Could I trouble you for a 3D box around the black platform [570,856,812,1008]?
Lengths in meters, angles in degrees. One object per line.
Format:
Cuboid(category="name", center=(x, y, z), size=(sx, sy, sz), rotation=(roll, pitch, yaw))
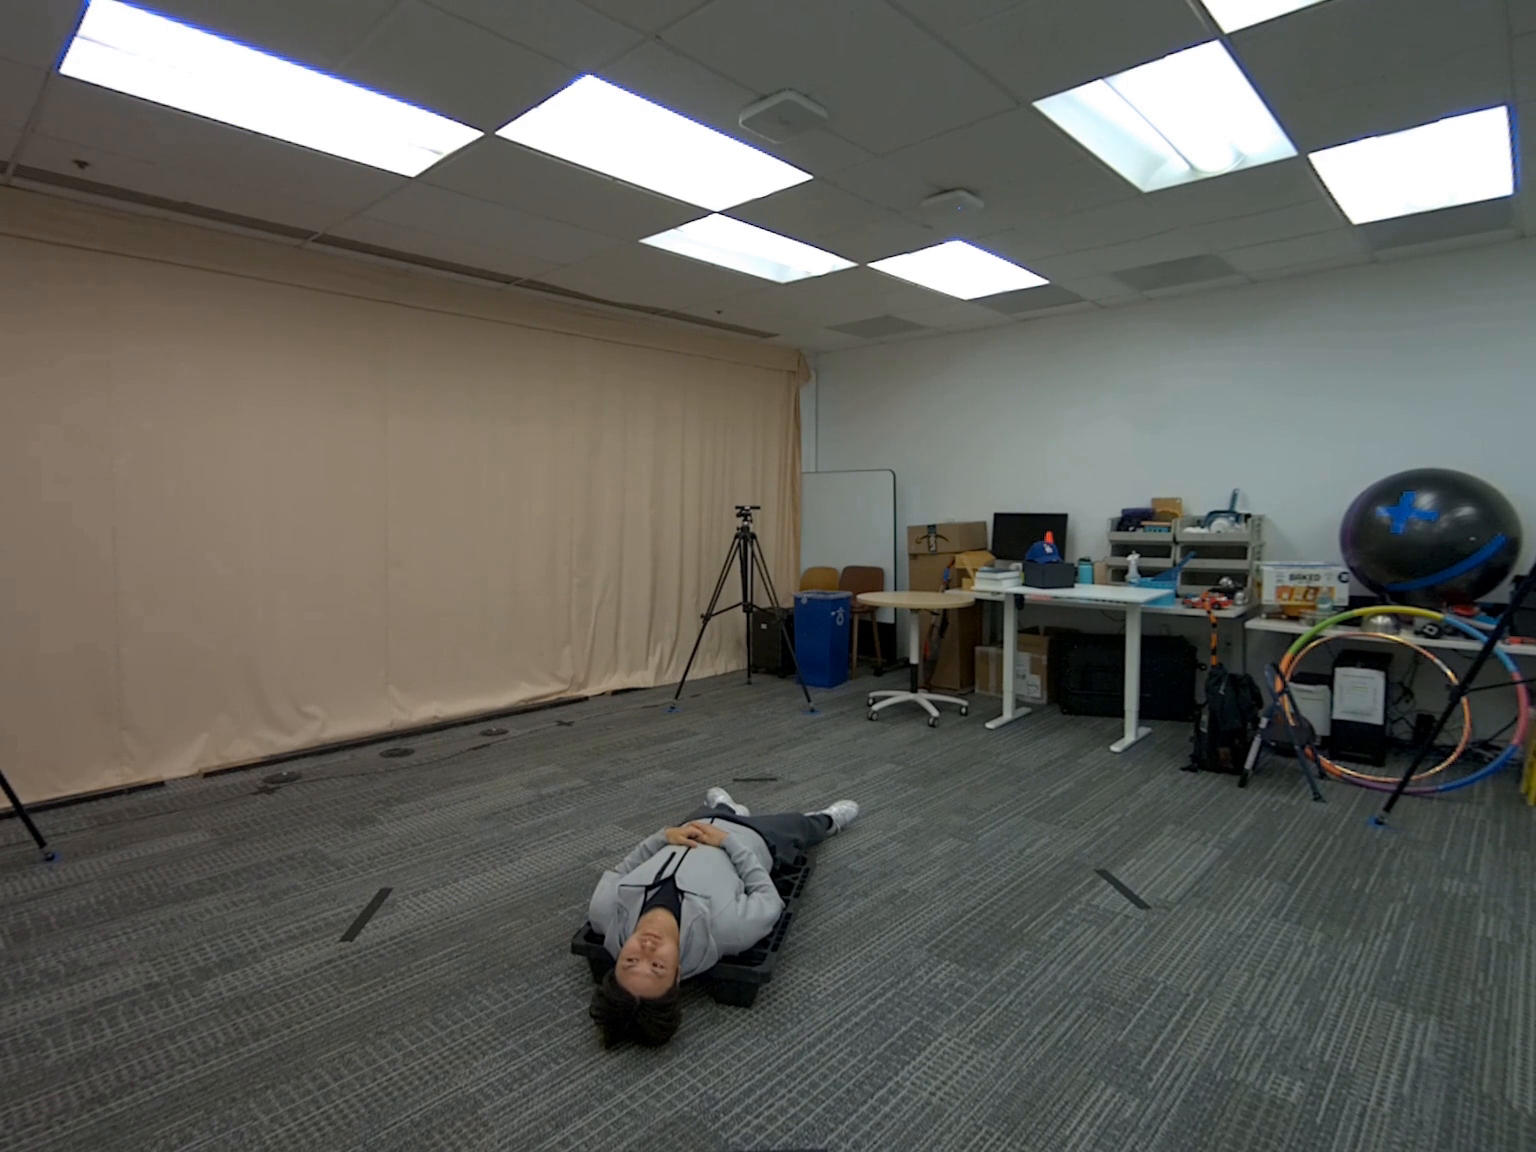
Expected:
Cuboid(category="black platform", center=(-0.199, 1.094, 2.739), size=(0.615, 0.143, 0.795), rotation=(1, 6, 15))
